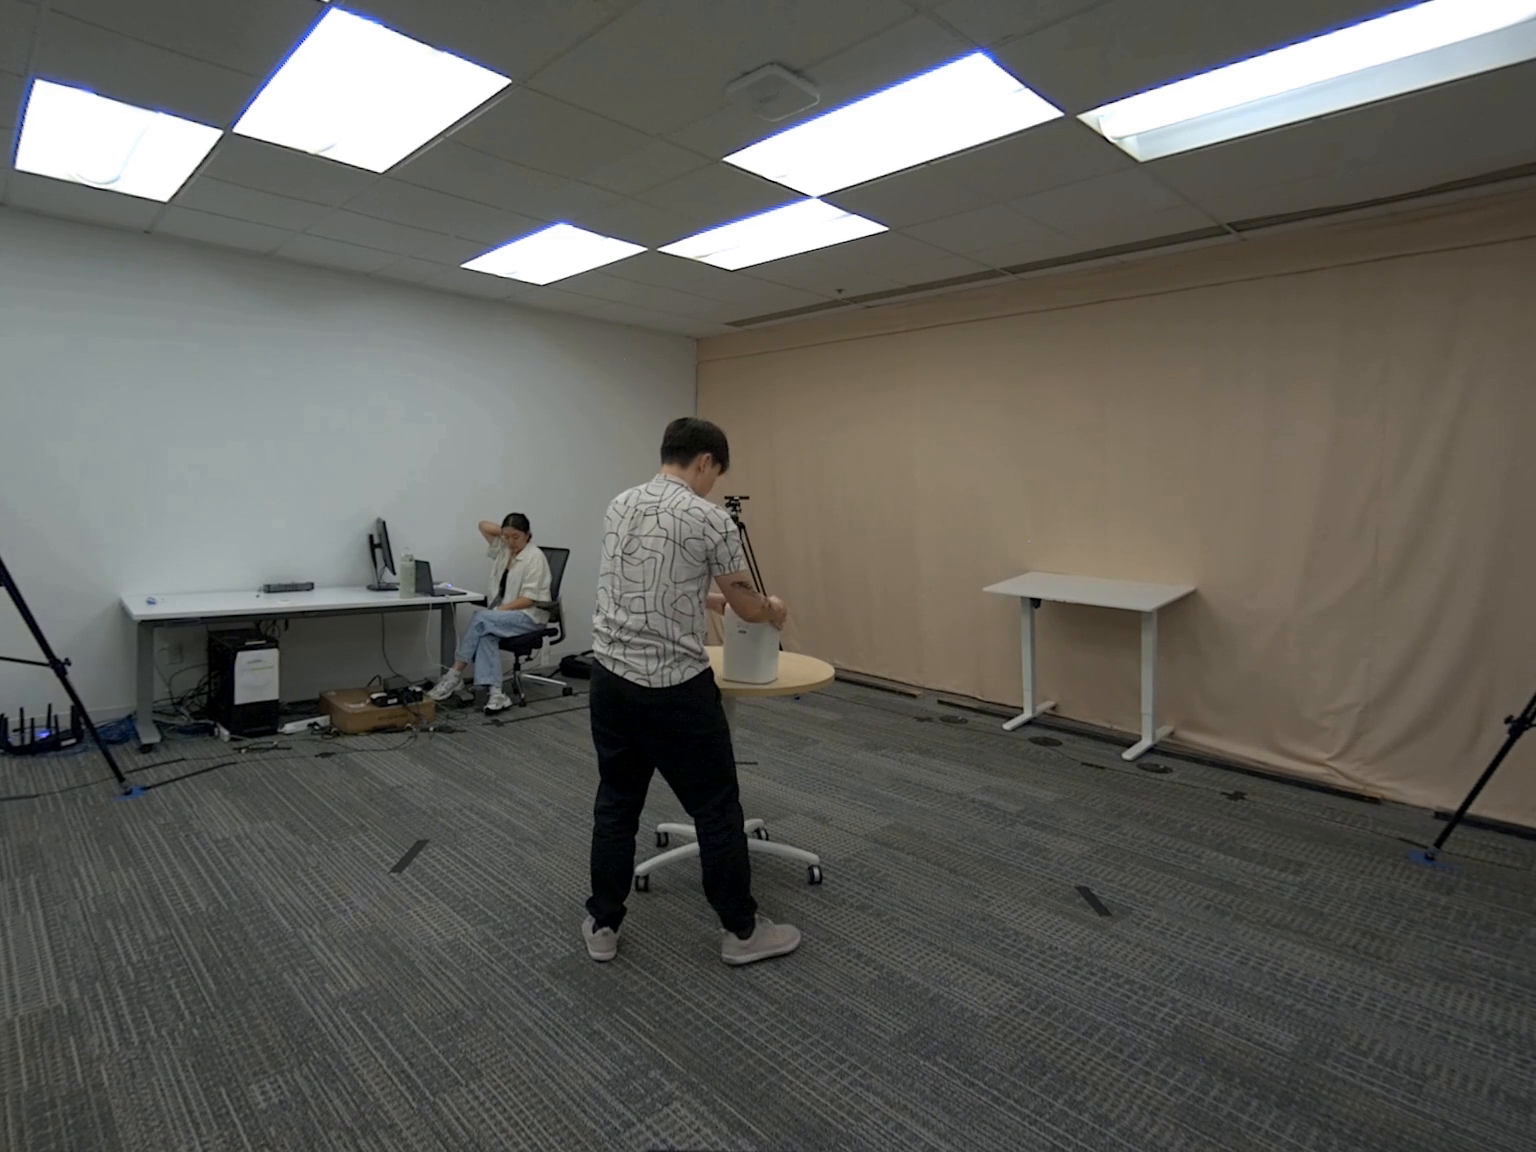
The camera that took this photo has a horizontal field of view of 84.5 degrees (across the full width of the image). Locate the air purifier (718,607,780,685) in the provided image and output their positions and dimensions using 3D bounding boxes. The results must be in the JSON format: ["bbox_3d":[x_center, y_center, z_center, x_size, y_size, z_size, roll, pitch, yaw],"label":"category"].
[{"bbox_3d":[-0.060,0.219,2.844,0.174,0.264,0.169,5,6,20],"label":"air purifier"}]
